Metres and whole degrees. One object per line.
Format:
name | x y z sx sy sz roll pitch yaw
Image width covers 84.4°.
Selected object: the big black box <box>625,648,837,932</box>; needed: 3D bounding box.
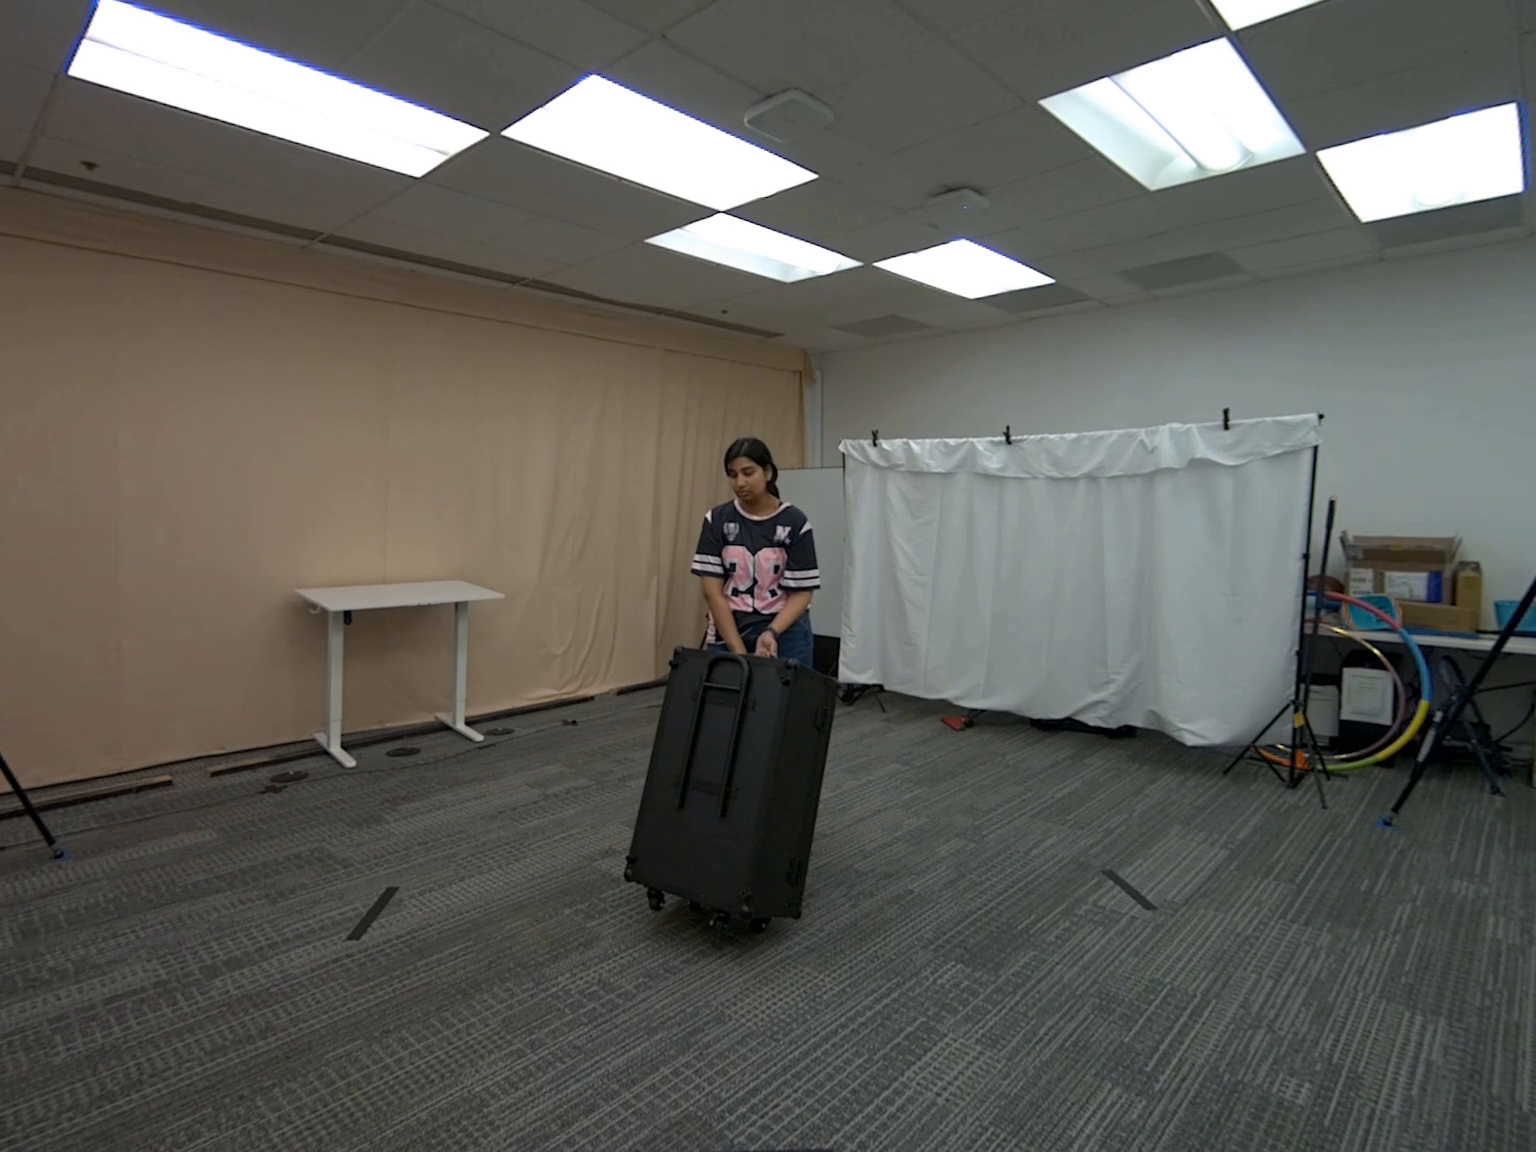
big black box | -0.110 0.716 2.836 0.539 0.873 0.372 2 -17 31
